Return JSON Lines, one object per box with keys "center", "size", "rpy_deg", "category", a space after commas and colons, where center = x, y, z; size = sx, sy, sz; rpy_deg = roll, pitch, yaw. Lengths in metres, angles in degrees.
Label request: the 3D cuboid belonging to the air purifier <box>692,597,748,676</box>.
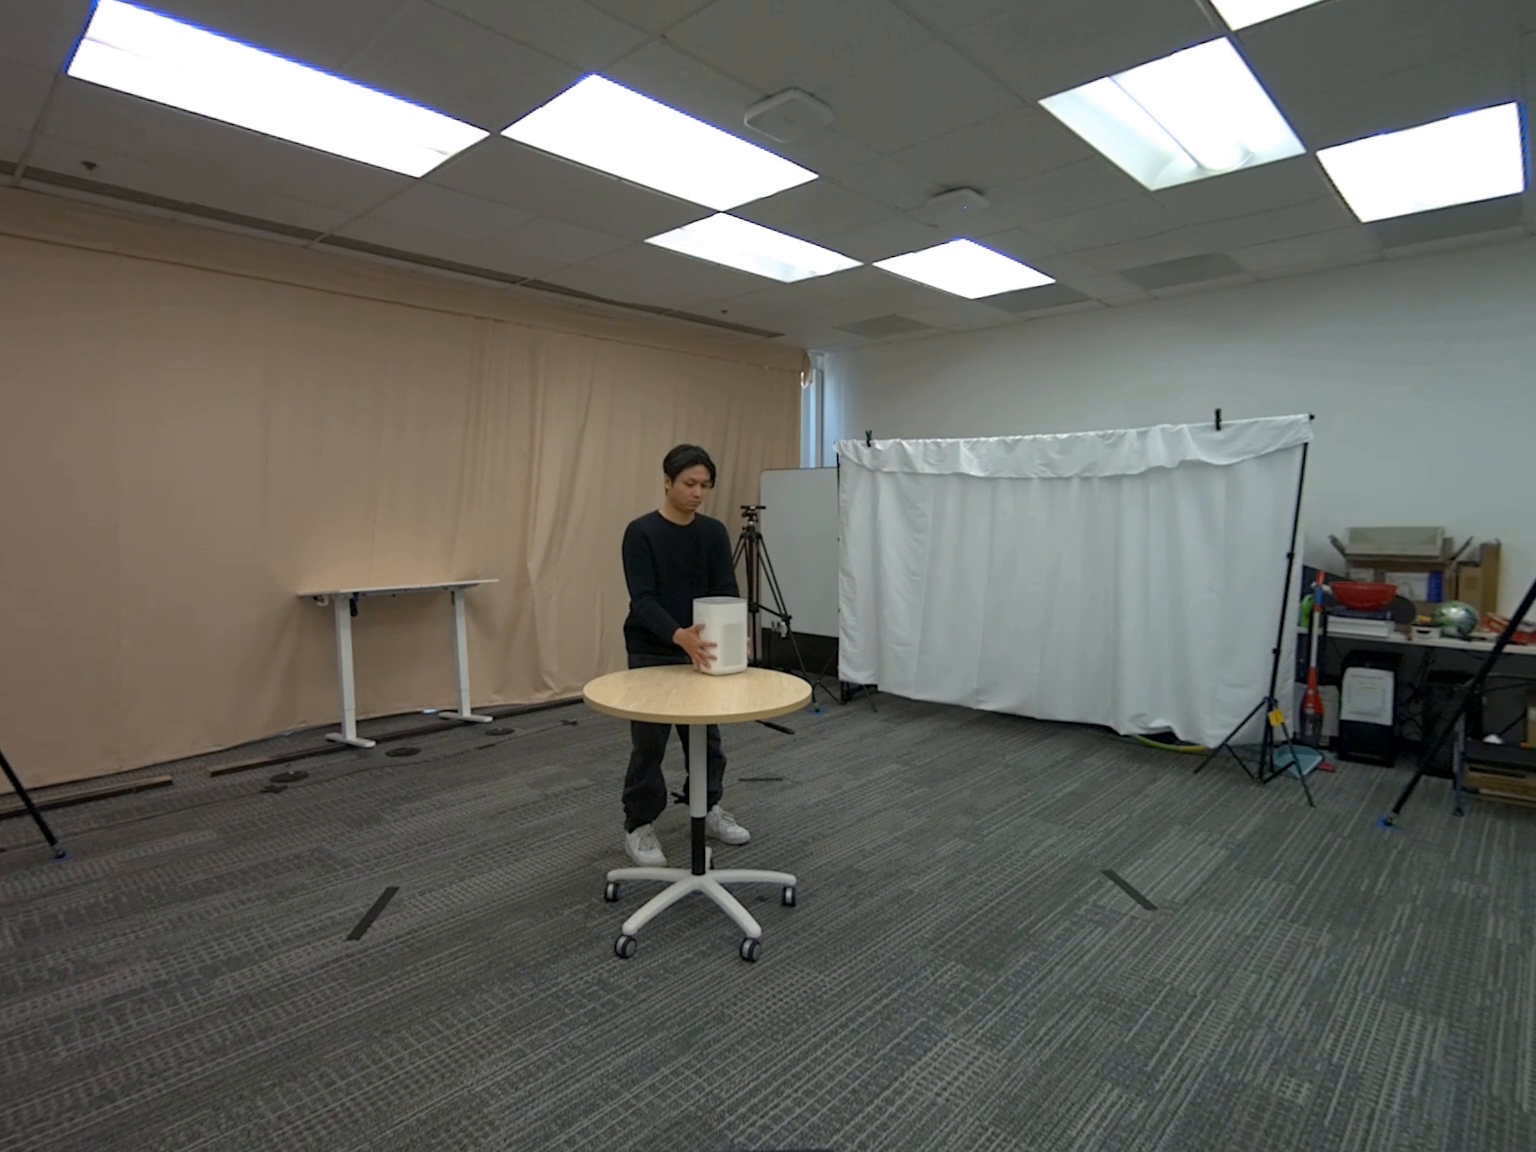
{"center": [-0.174, 0.217, 3.088], "size": [0.167, 0.265, 0.176], "rpy_deg": [-2, 3, -35], "category": "air purifier"}
